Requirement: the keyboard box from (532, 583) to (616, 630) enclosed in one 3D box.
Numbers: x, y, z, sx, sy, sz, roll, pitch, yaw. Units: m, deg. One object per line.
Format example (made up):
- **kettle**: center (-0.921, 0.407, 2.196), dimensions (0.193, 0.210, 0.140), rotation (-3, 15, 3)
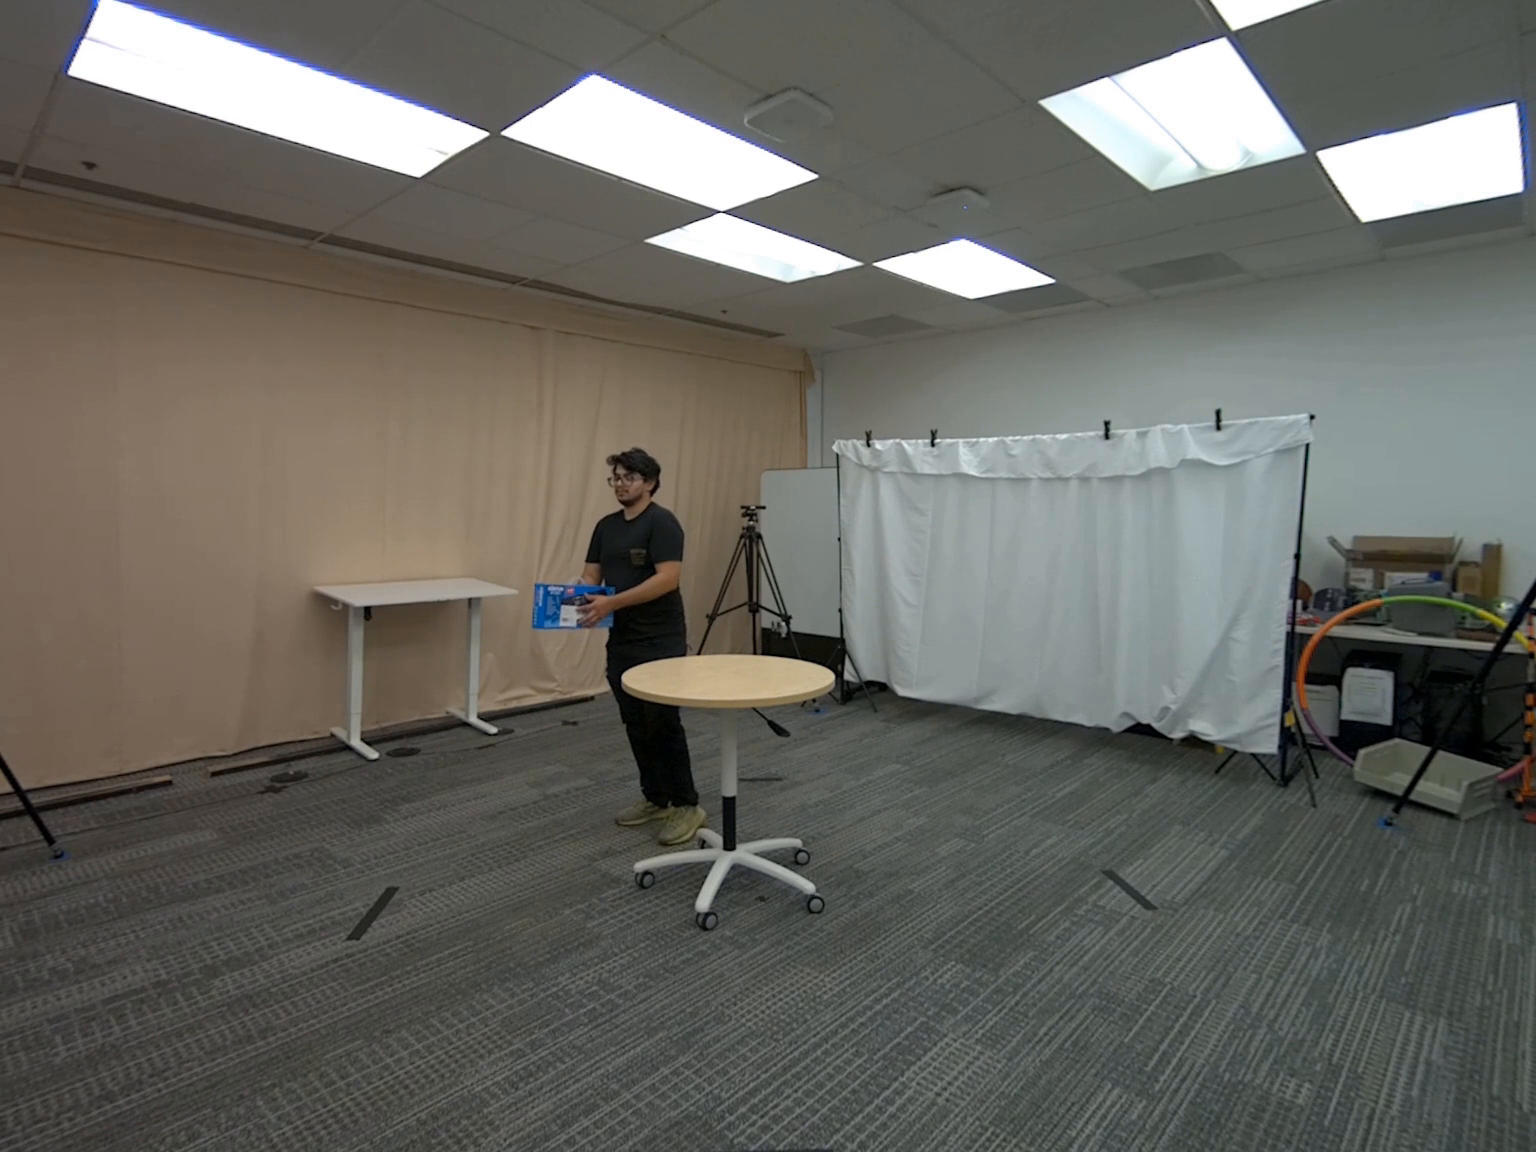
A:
- **keyboard box**: center (-0.777, 0.126, 3.389), dimensions (0.061, 0.176, 0.424), rotation (3, -1, 27)
